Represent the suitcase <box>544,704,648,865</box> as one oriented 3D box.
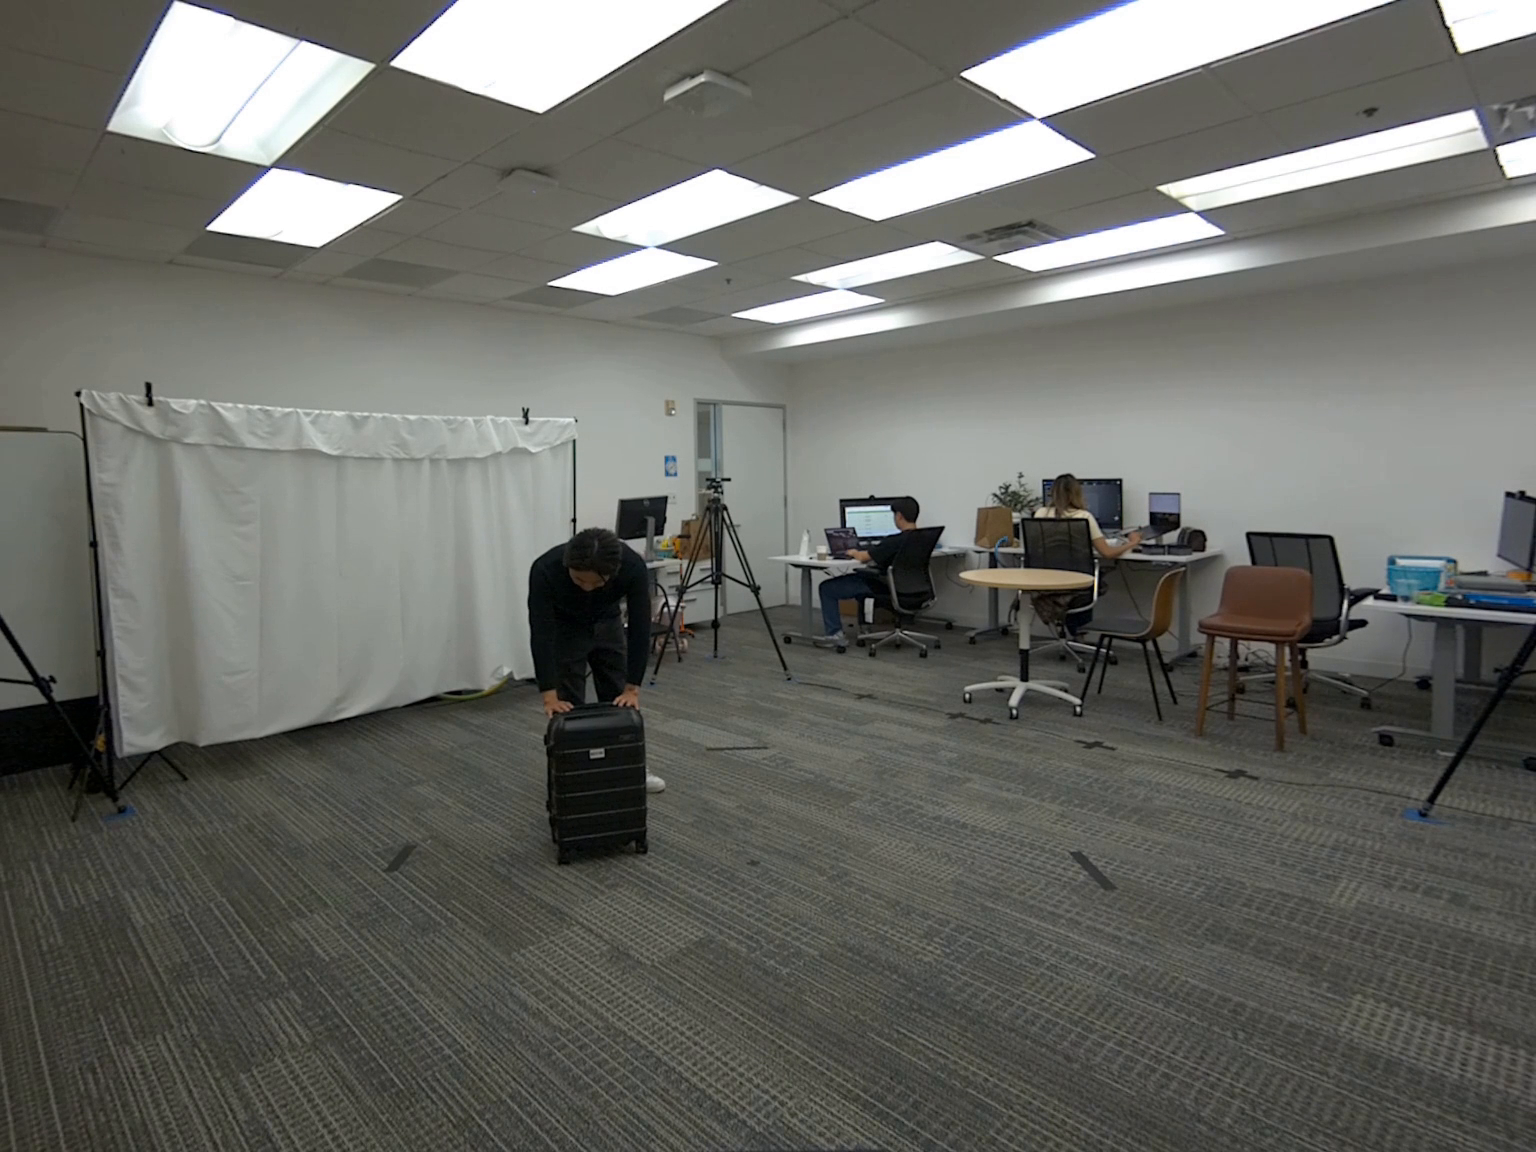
[{"bbox_3d":[-0.640,0.764,3.233,0.370,0.547,0.253,-2,5,-17],"label":"suitcase"}]
